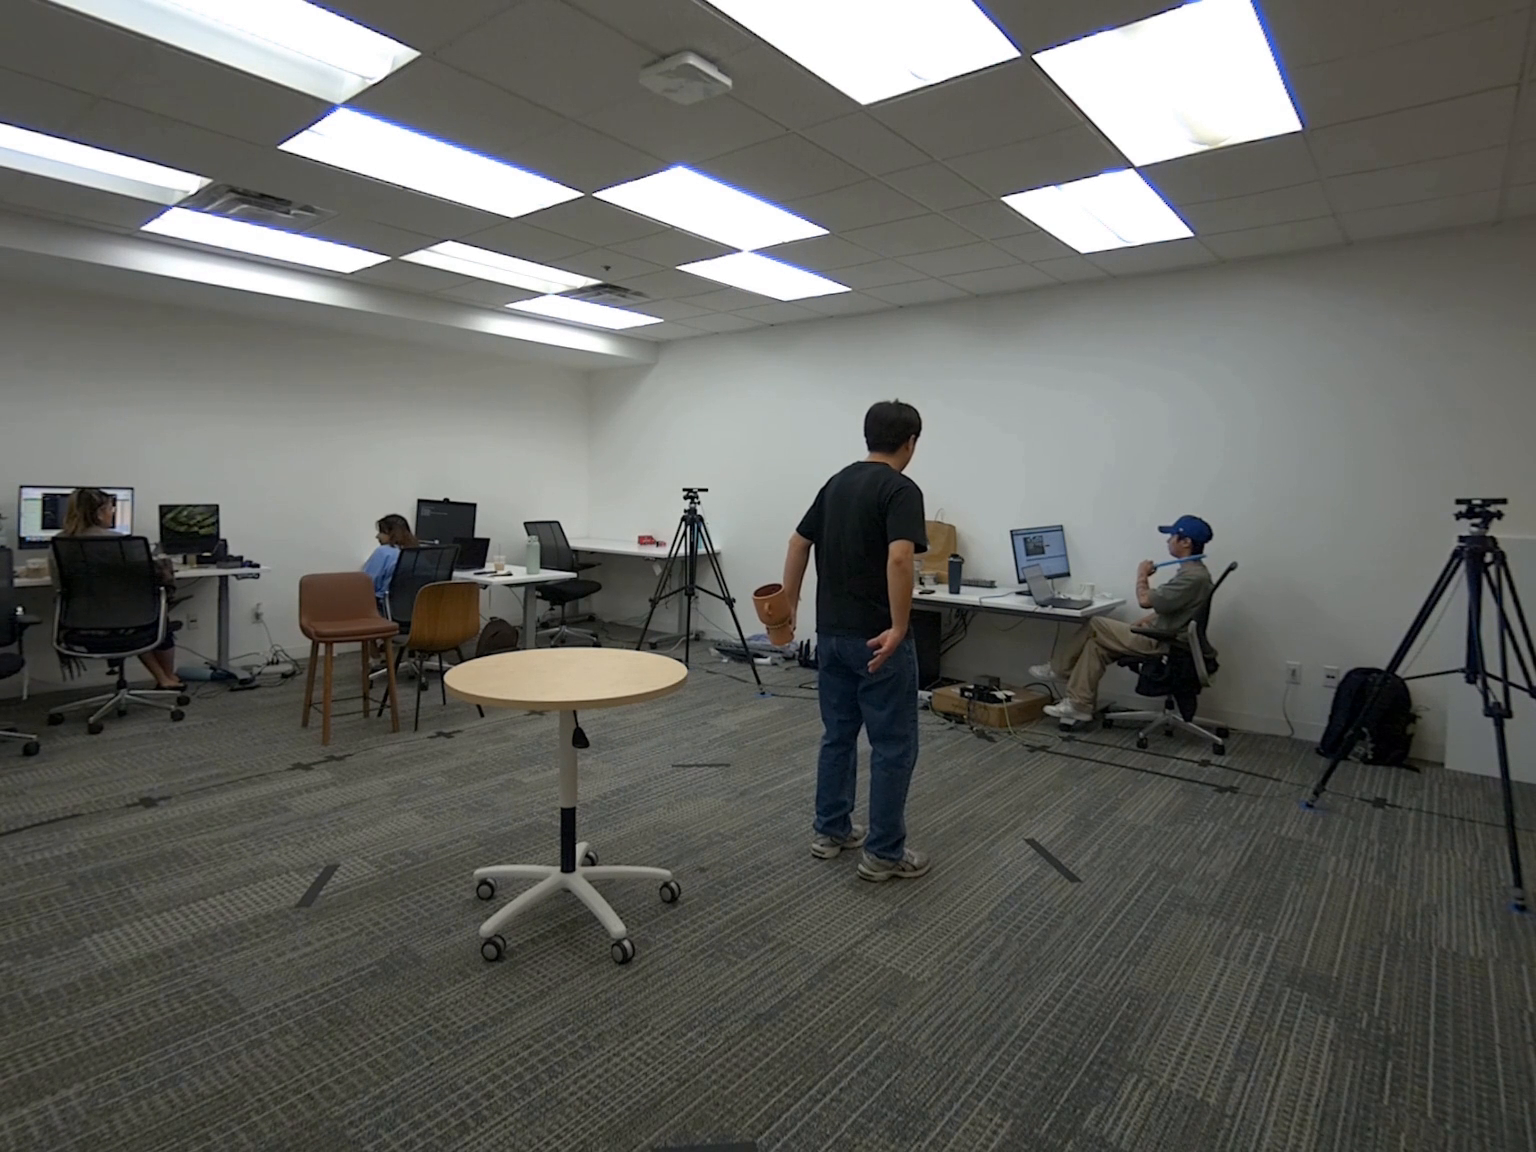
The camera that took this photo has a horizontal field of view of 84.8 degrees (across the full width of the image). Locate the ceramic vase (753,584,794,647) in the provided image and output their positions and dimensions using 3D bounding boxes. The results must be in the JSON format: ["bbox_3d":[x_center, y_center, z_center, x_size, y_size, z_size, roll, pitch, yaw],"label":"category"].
[{"bbox_3d":[0.028,0.148,3.354,0.157,0.215,0.139,-28,21,-31],"label":"ceramic vase"}]
